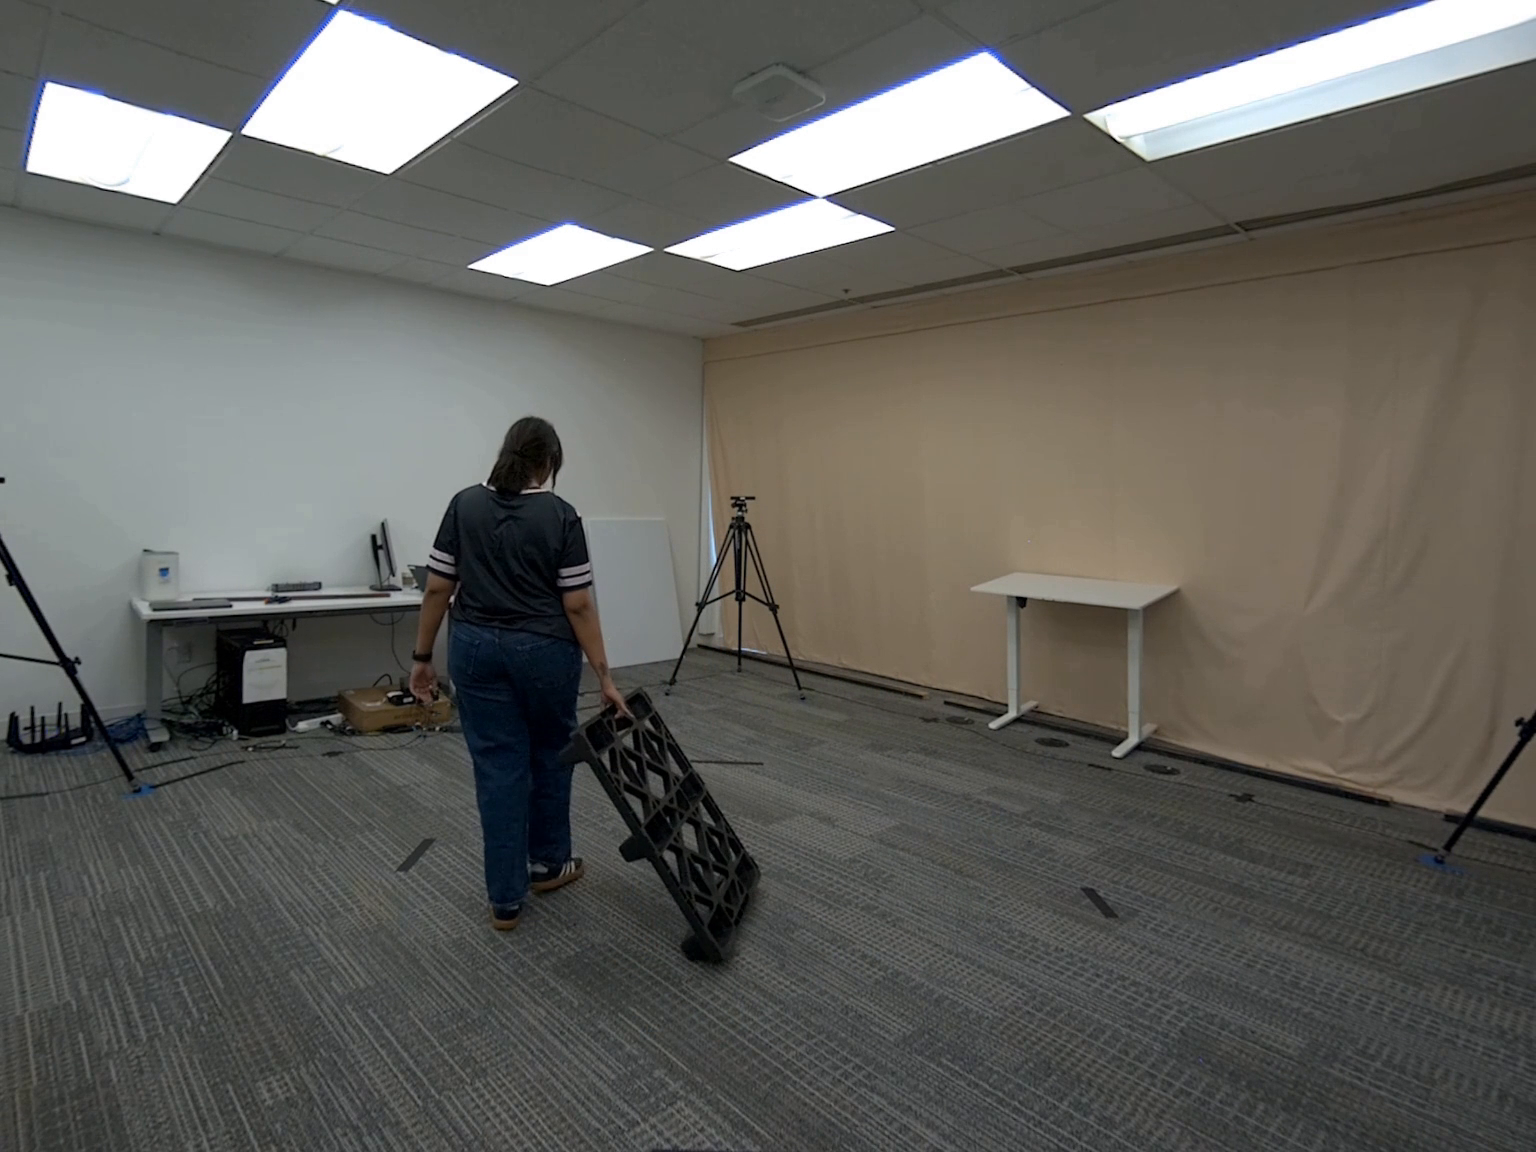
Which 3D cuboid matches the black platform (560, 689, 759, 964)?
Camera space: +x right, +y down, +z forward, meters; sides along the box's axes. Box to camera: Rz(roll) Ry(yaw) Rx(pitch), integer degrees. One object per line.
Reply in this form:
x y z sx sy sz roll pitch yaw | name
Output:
-0.356 0.800 2.762 0.144 0.809 0.601 -33 -3 12 | black platform
